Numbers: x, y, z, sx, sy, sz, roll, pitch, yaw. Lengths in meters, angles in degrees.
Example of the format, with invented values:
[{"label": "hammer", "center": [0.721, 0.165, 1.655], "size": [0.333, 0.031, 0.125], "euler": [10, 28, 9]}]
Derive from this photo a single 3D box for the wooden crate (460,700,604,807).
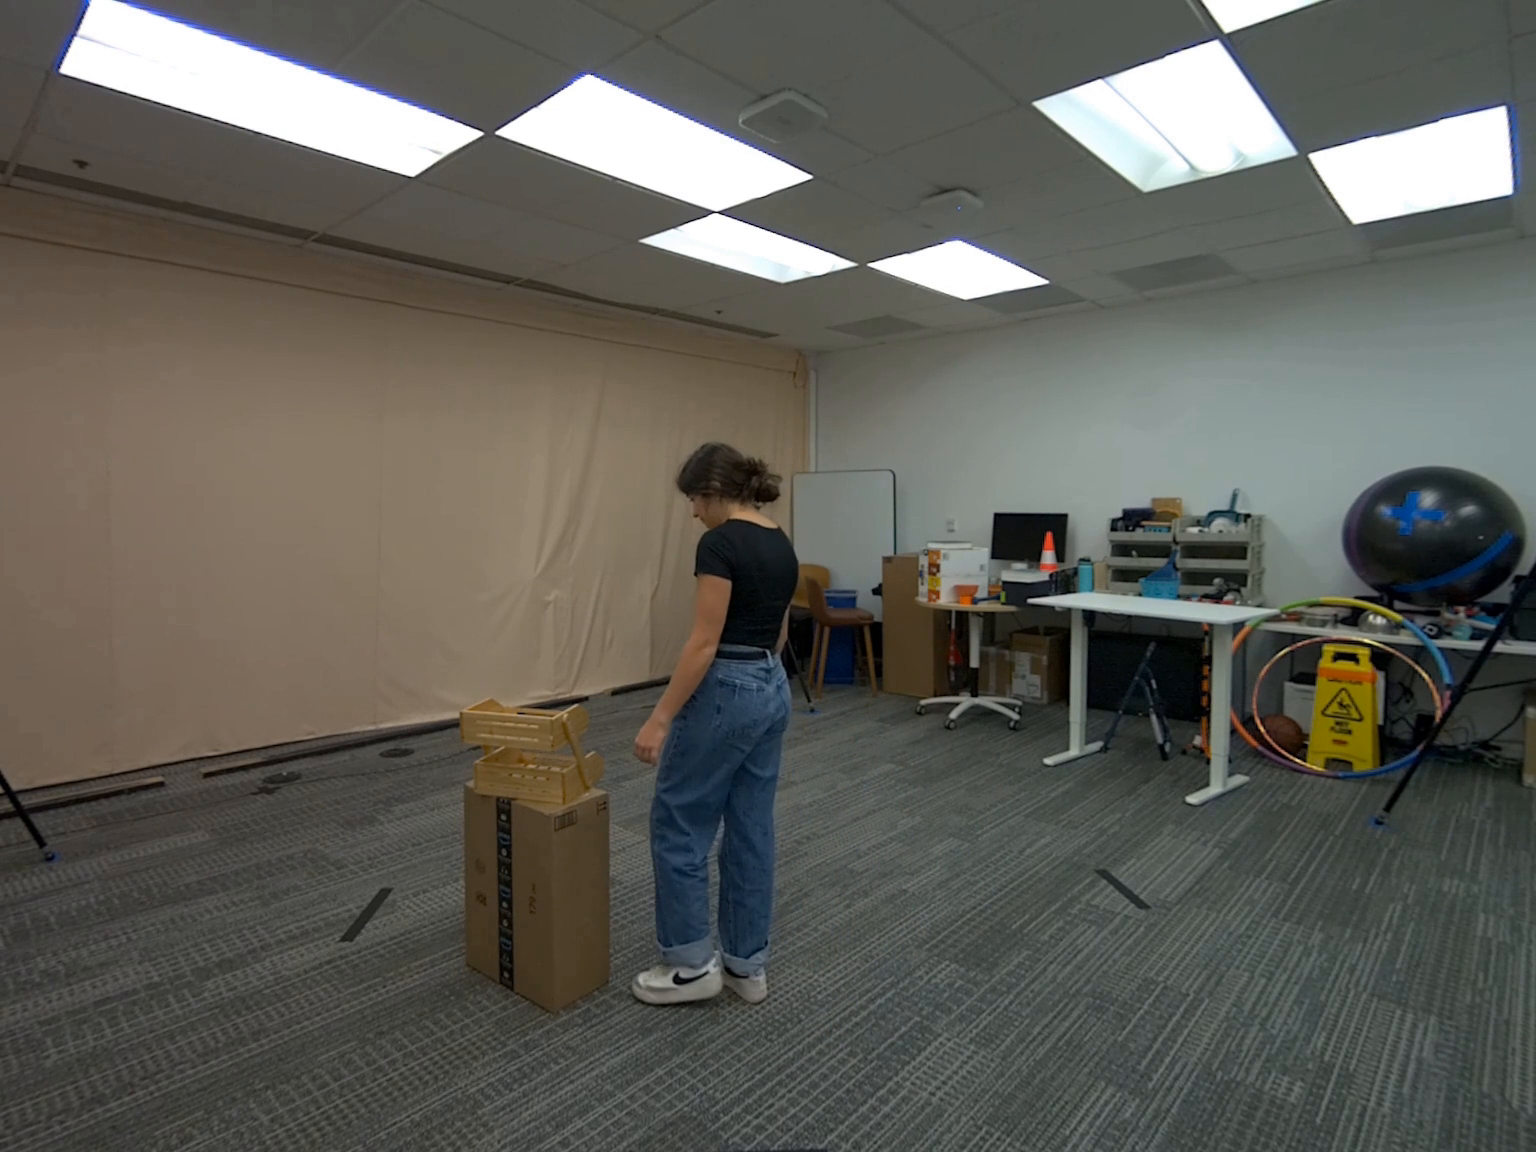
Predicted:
[{"label": "wooden crate", "center": [-0.684, 0.491, 2.502], "size": [0.331, 0.272, 0.298], "euler": [1, 7, 17]}]
